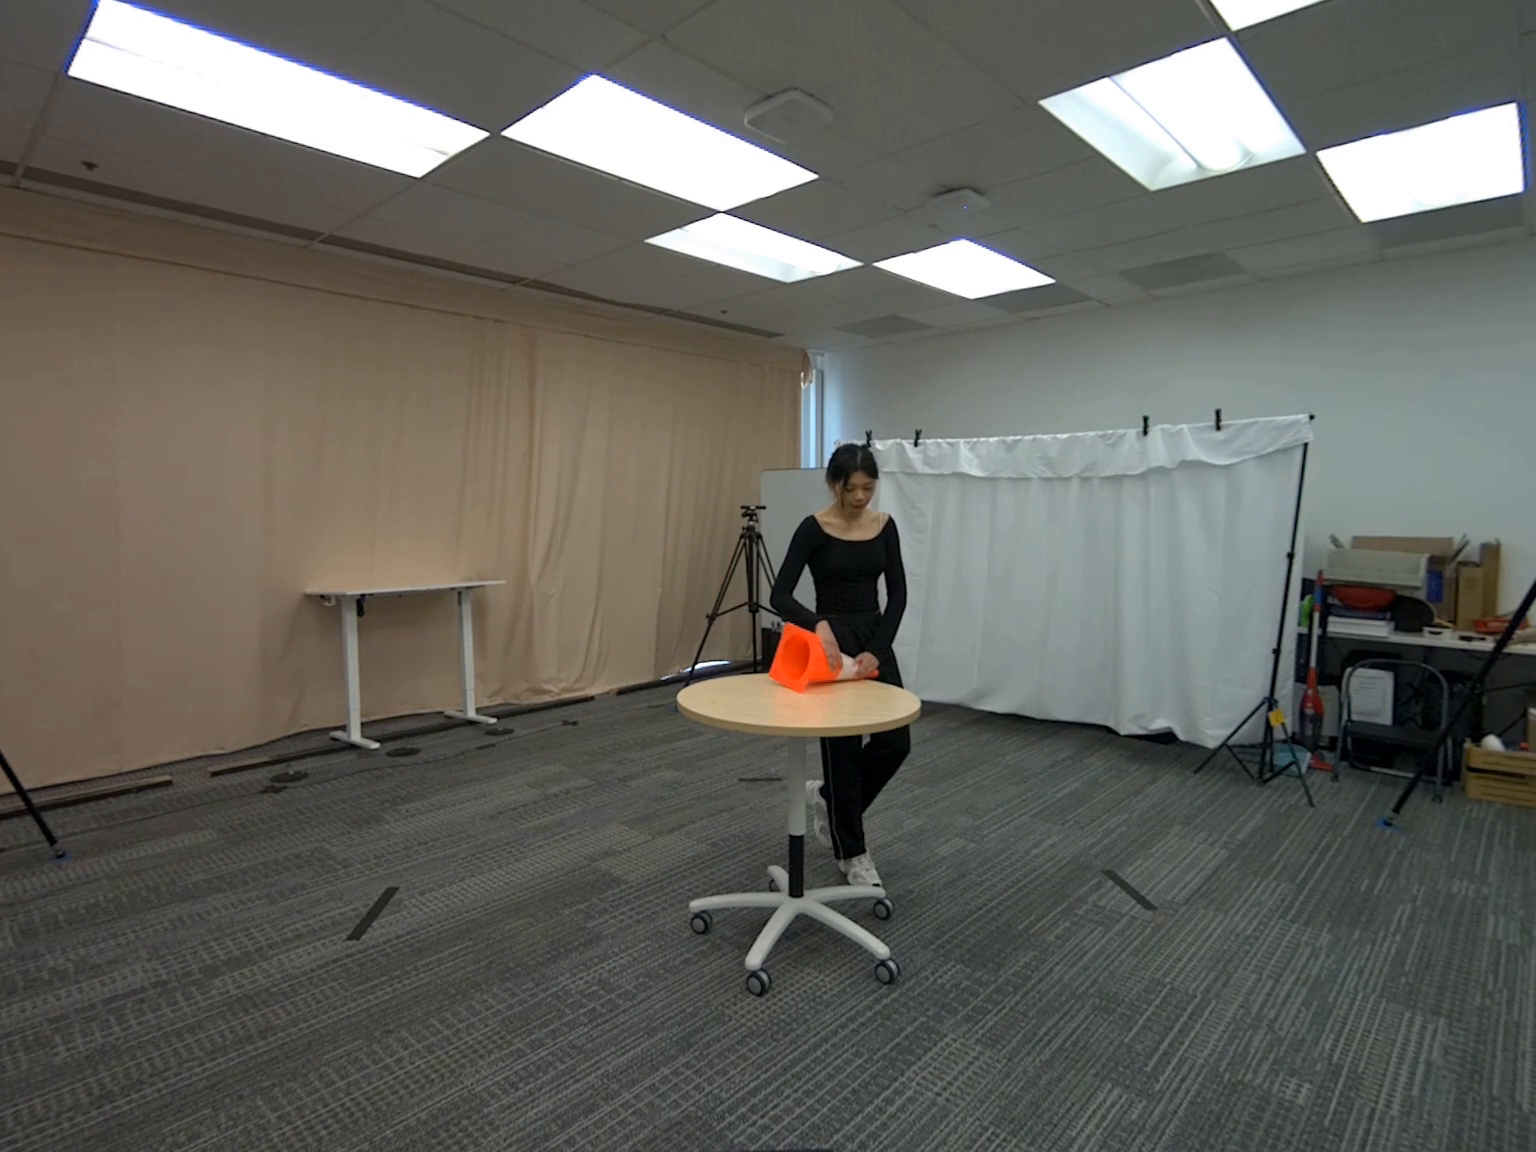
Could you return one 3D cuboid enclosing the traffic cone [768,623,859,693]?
[{"bbox_3d":[0.239,0.307,2.884,0.373,0.204,0.209,13,7,-26],"label":"traffic cone"}]
